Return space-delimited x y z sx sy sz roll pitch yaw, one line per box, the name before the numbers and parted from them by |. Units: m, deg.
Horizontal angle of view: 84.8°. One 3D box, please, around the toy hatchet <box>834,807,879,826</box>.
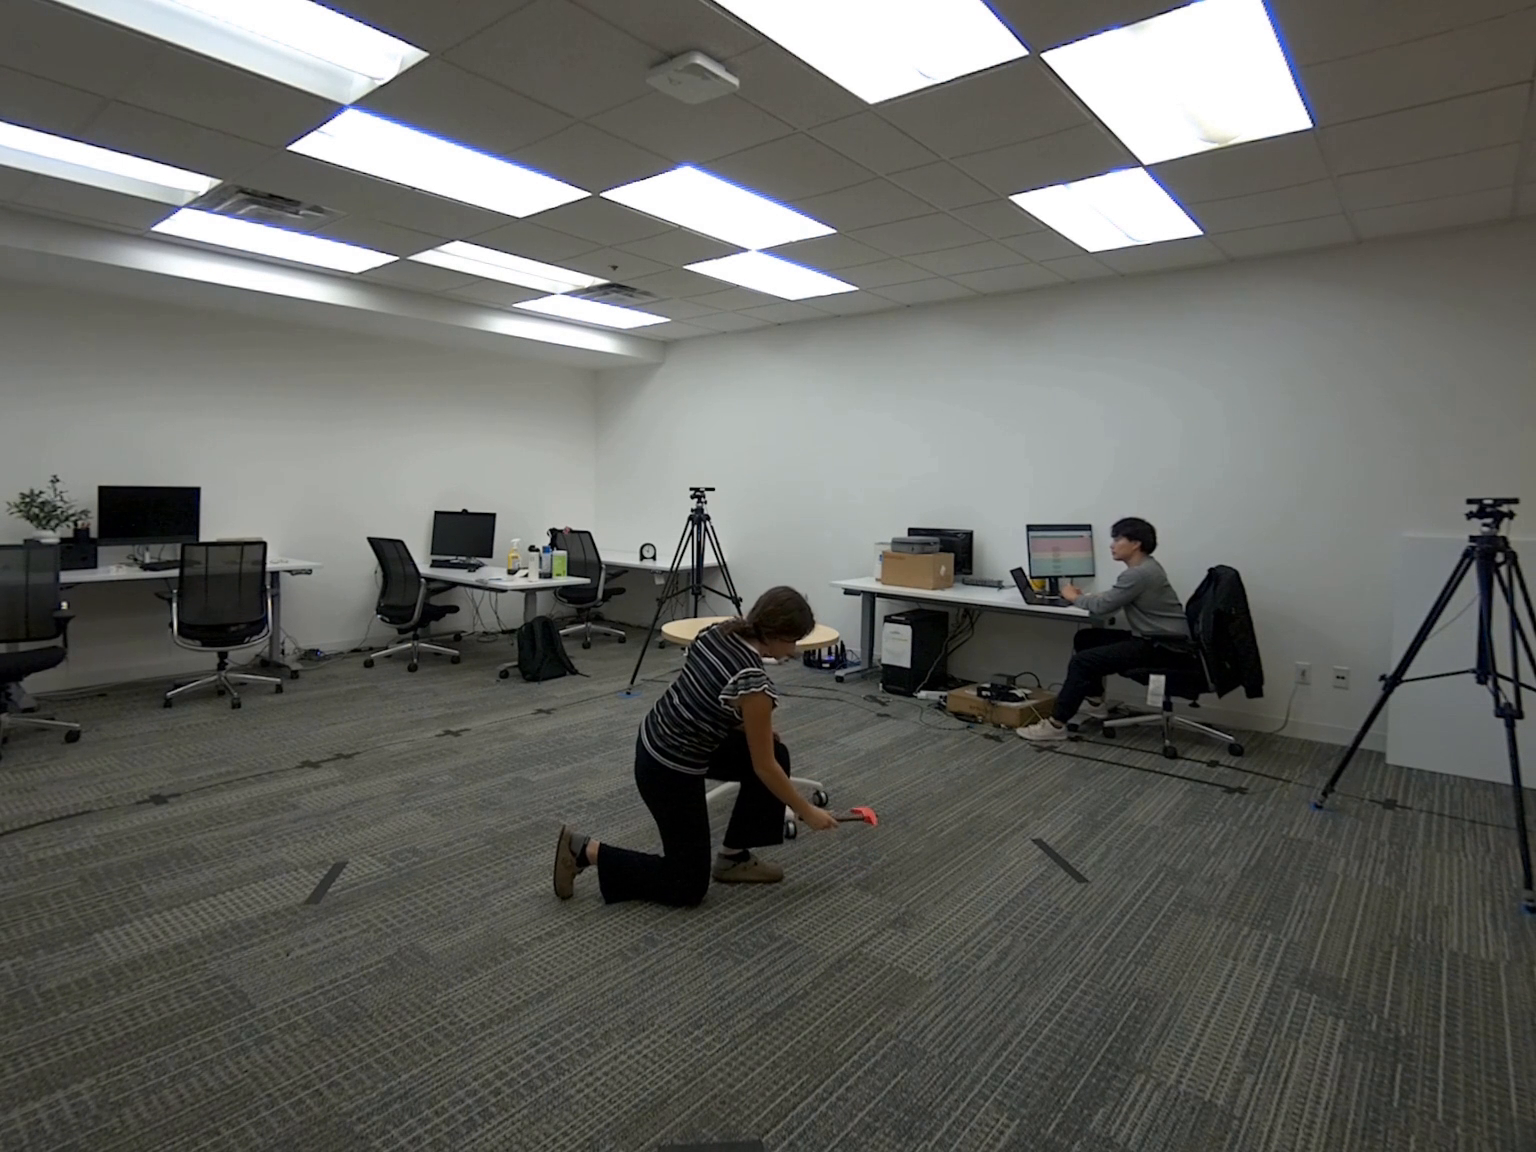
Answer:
toy hatchet | 0.239 0.837 2.961 0.272 0.029 0.131 2 12 6
